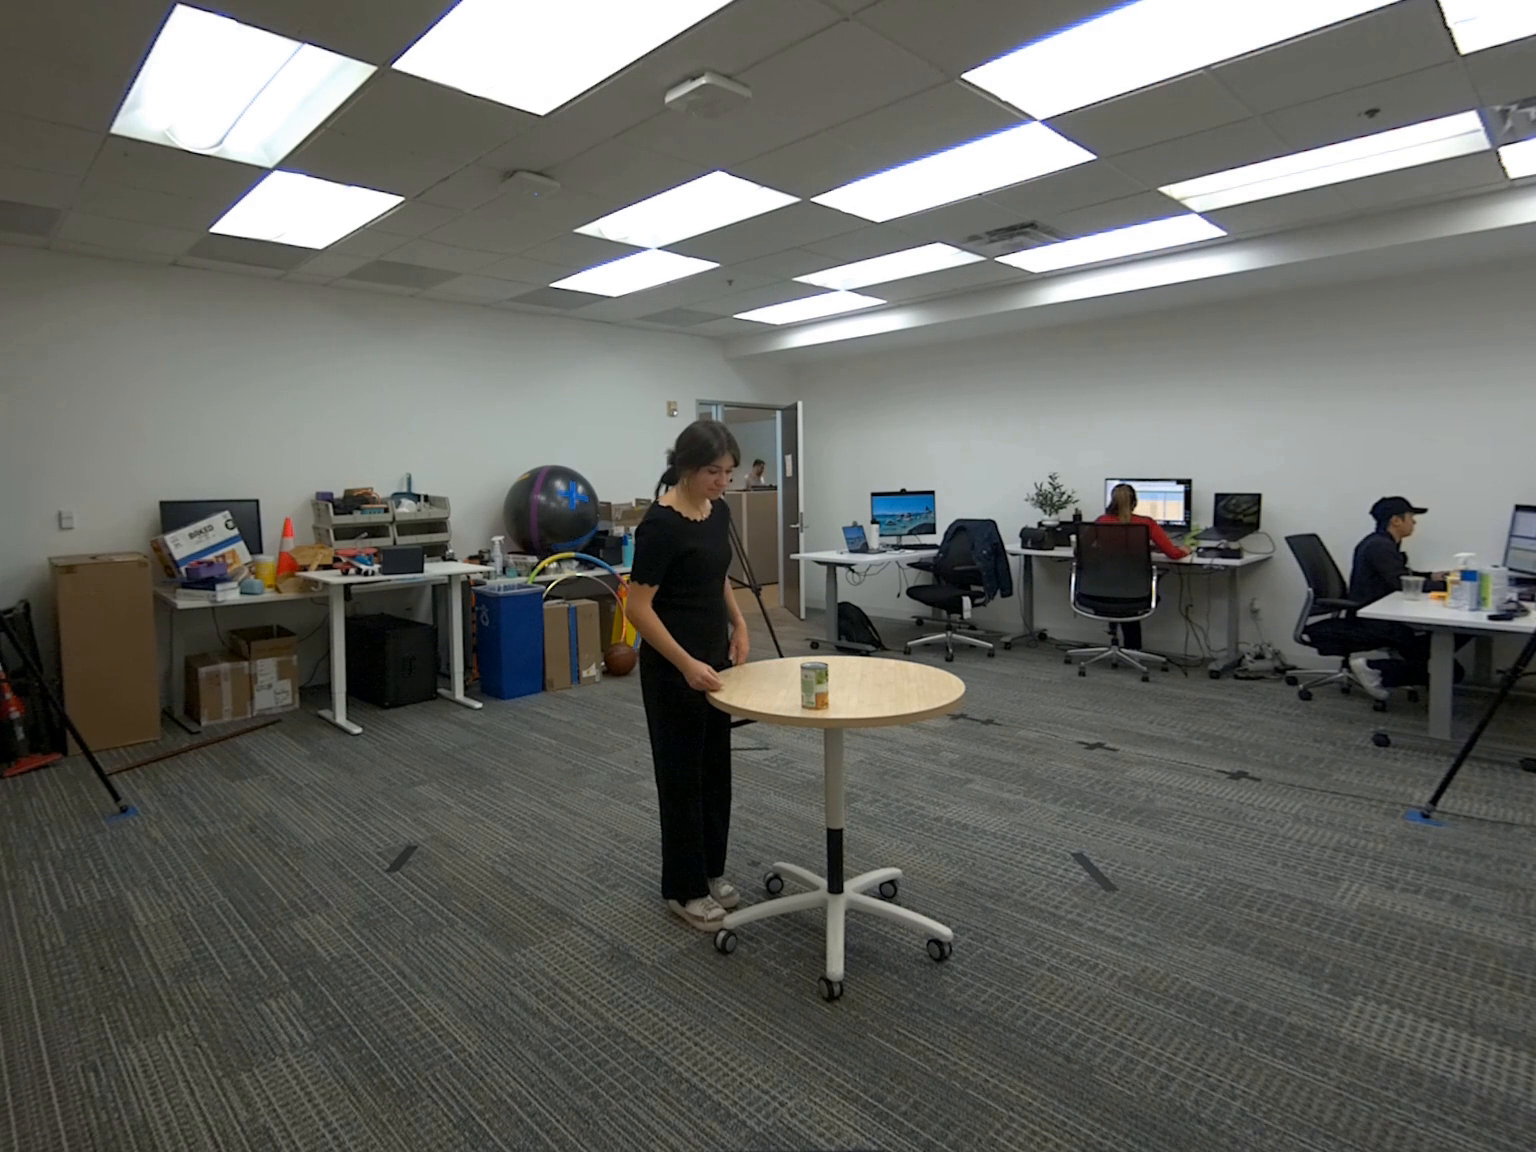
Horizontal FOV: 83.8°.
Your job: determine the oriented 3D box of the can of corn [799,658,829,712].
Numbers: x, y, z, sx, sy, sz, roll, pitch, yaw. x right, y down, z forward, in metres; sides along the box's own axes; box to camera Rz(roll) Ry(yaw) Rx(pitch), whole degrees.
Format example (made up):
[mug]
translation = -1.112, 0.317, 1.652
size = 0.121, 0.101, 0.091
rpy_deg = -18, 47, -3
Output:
[can of corn]
translation = 0.124, 0.295, 2.287
size = 0.074, 0.111, 0.074
rpy_deg = -2, 4, -1
